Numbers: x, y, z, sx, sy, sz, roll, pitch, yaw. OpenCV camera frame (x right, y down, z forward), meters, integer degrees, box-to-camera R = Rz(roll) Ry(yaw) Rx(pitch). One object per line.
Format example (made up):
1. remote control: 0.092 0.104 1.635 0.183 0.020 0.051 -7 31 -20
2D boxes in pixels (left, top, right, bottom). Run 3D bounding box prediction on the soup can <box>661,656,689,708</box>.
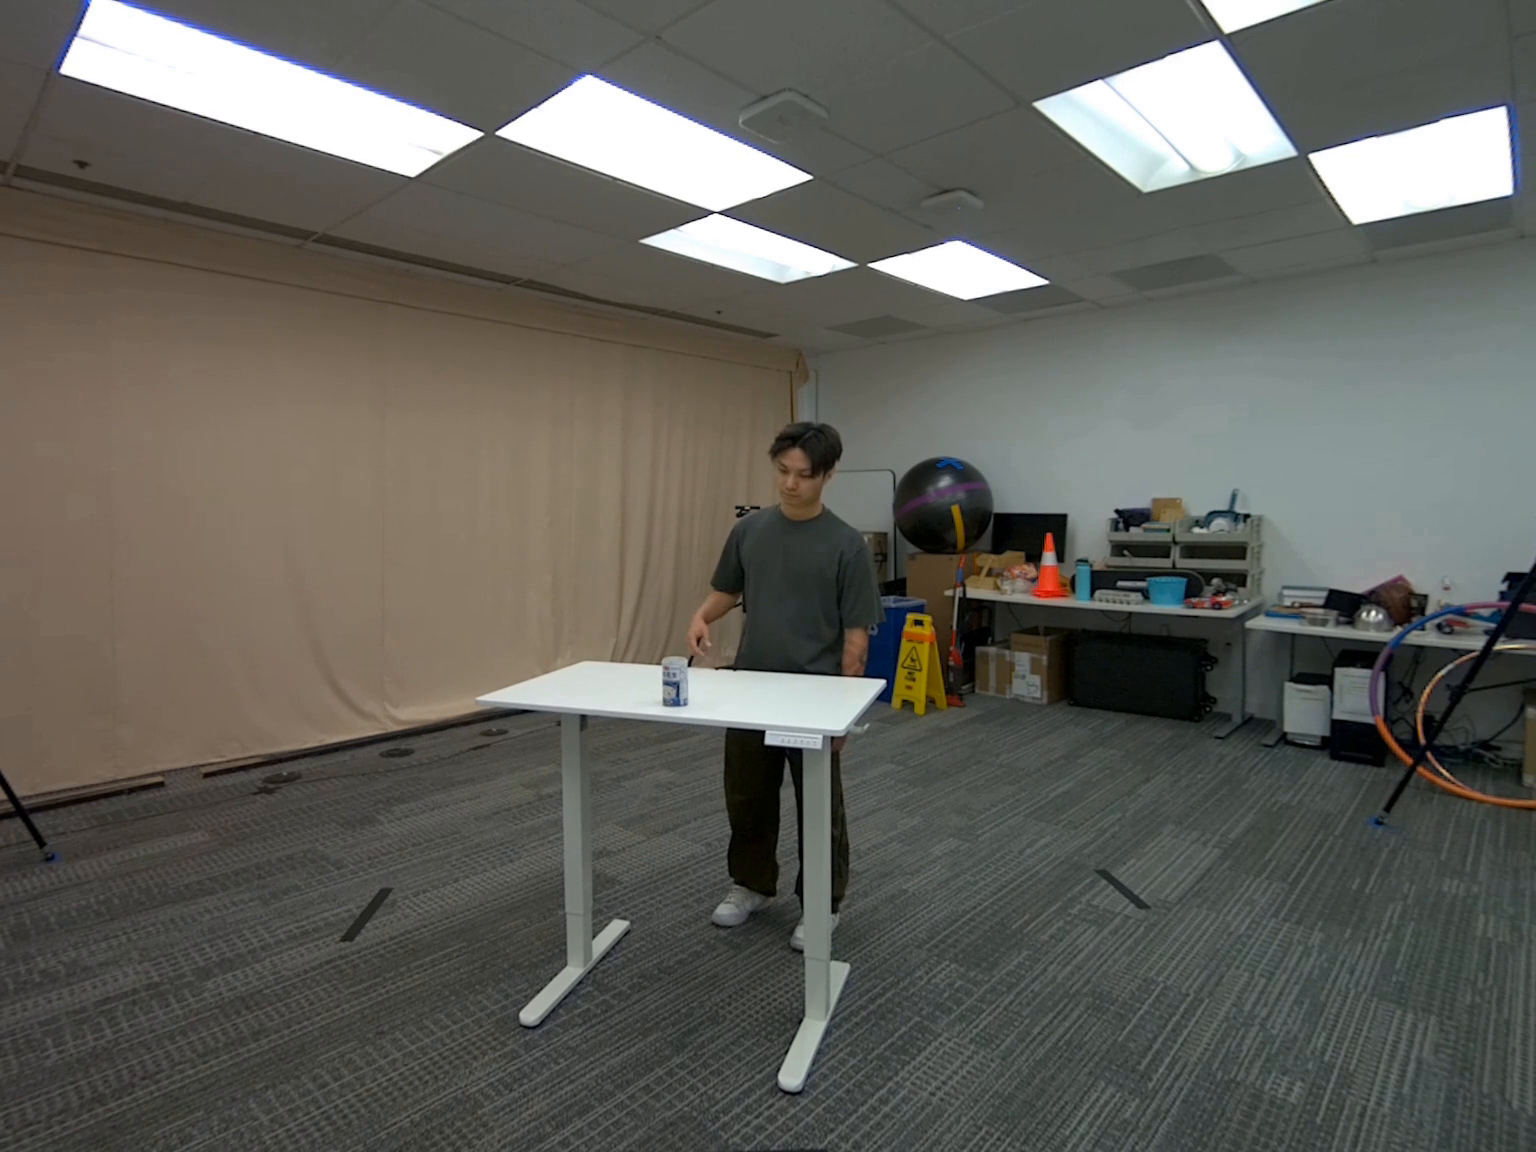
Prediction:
1. soup can: -0.234 0.273 2.163 0.067 0.121 0.067 1 6 -2
